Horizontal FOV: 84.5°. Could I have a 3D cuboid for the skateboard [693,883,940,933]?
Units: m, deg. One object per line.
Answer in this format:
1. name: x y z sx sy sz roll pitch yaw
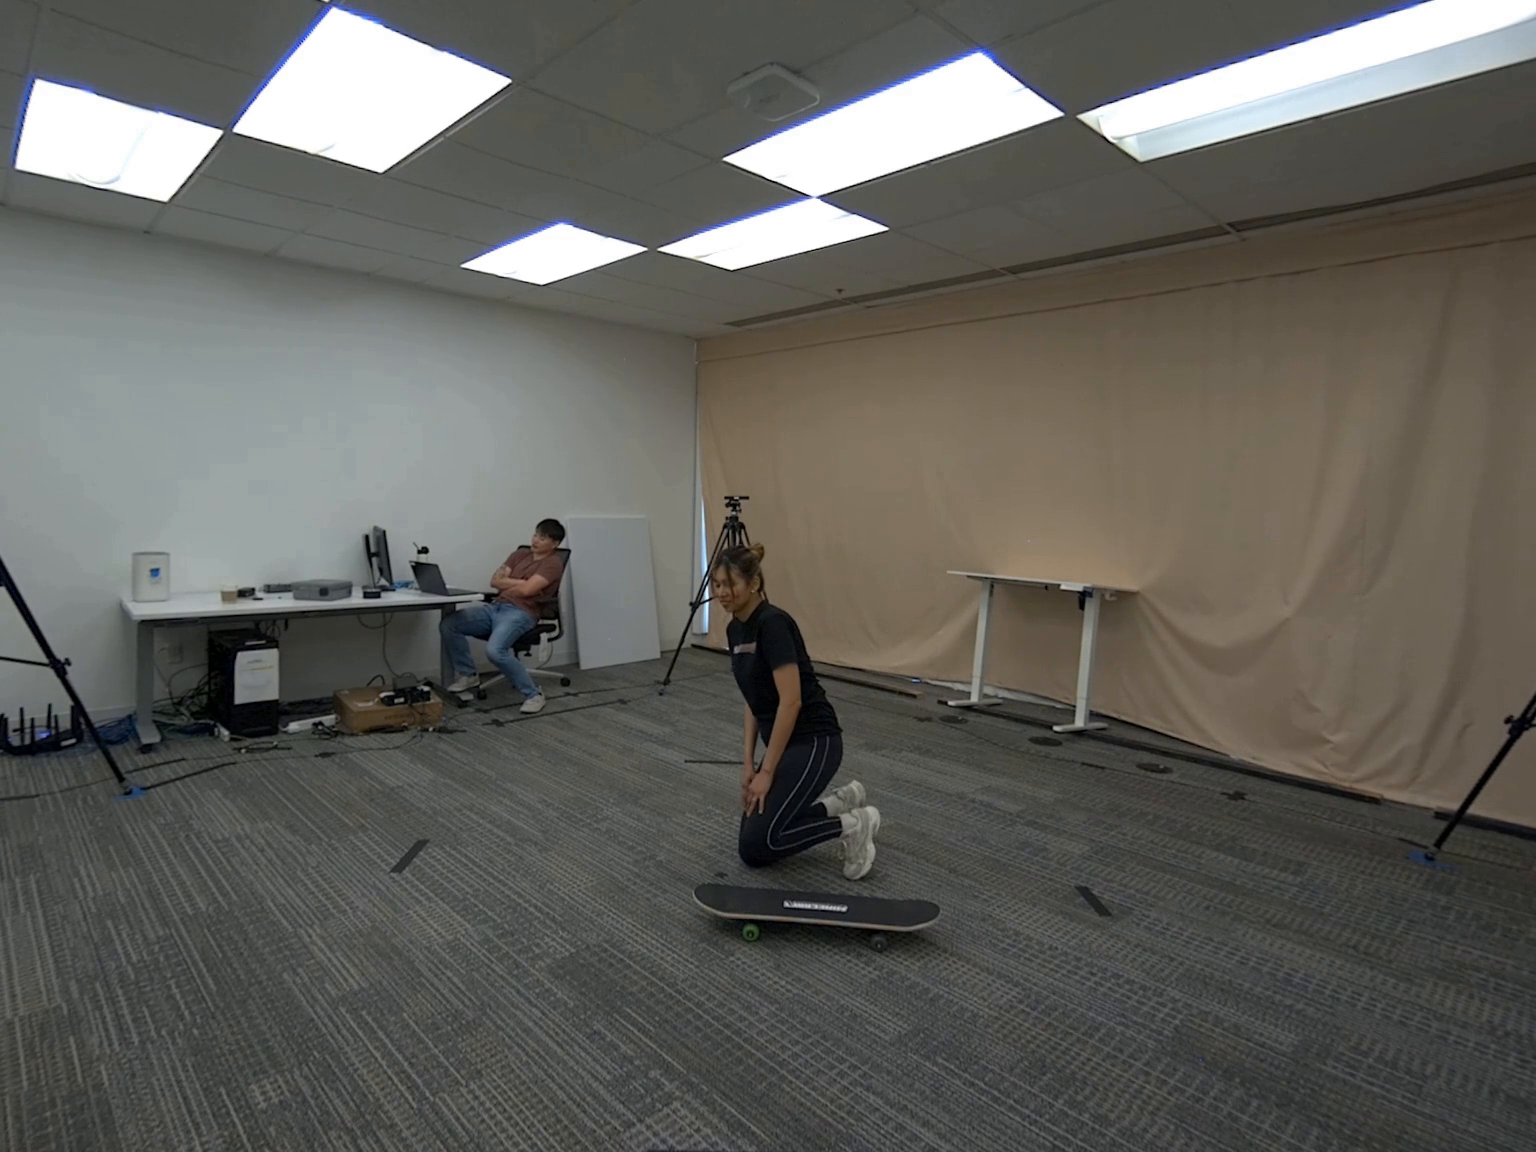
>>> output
1. skateboard: 0.134 1.085 2.703 0.789 0.110 0.193 2 4 6
